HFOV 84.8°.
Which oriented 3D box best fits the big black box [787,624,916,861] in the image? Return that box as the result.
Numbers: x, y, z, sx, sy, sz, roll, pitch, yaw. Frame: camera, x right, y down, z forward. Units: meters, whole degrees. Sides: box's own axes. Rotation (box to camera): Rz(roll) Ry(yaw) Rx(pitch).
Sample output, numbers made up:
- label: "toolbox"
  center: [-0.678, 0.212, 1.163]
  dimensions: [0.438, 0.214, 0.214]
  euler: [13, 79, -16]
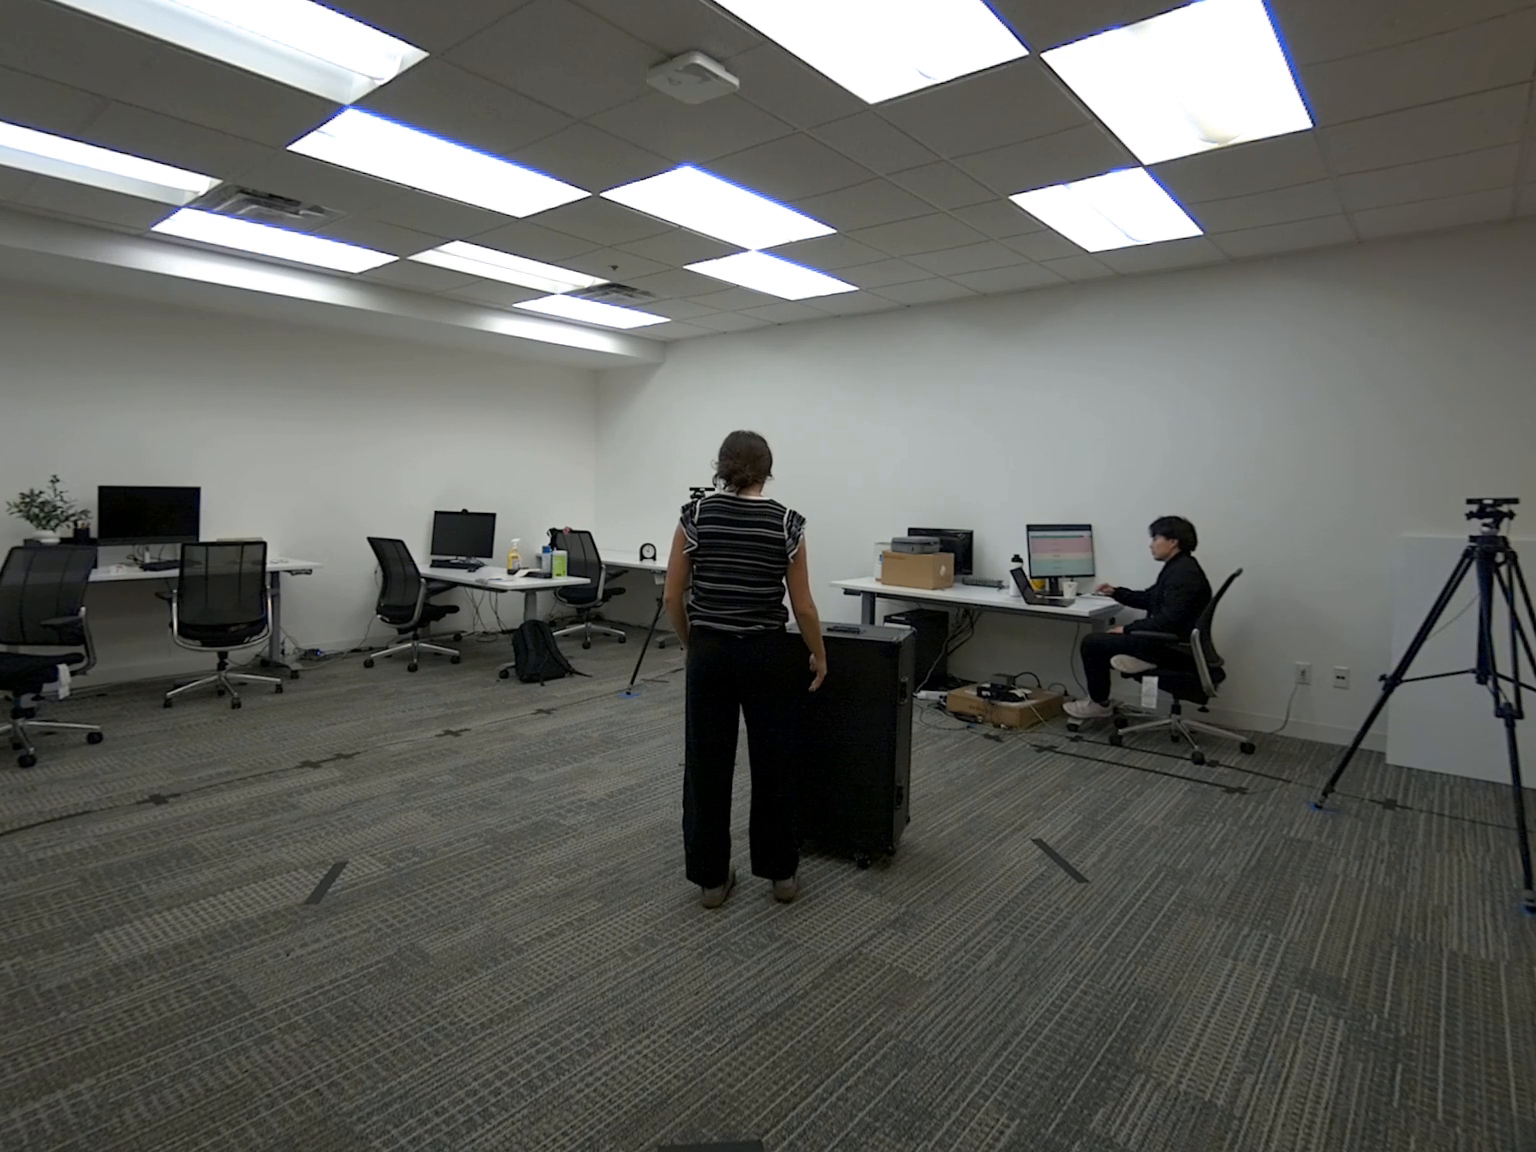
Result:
- label: "big black box"
  center: [0.288, 0.634, 3.344]
  dimensions: [0.533, 0.859, 0.389]
  euler: [3, 3, 20]
